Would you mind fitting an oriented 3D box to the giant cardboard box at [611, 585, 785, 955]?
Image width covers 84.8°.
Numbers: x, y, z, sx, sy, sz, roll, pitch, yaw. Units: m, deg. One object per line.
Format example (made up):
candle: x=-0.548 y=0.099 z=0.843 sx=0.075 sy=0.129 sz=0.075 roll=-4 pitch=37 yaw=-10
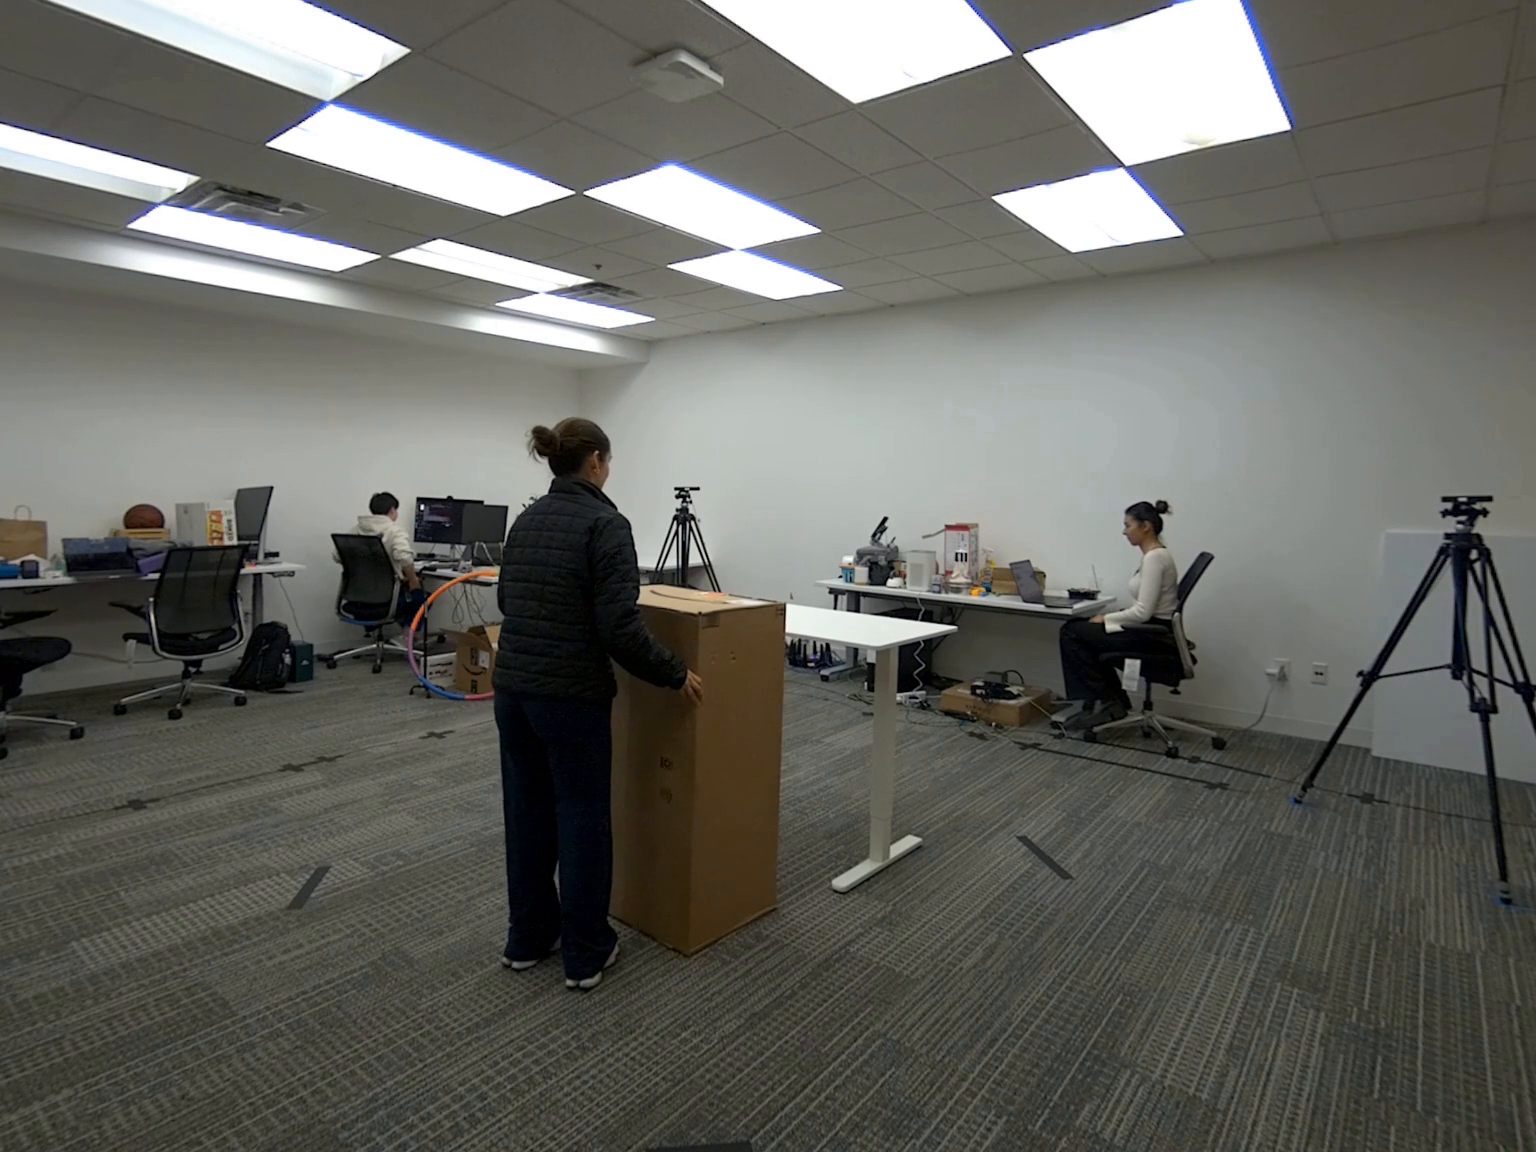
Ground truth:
giant cardboard box: x=-0.293 y=0.577 z=2.852 sx=0.597 sy=1.023 sz=0.413 roll=4 pitch=4 yaw=41
